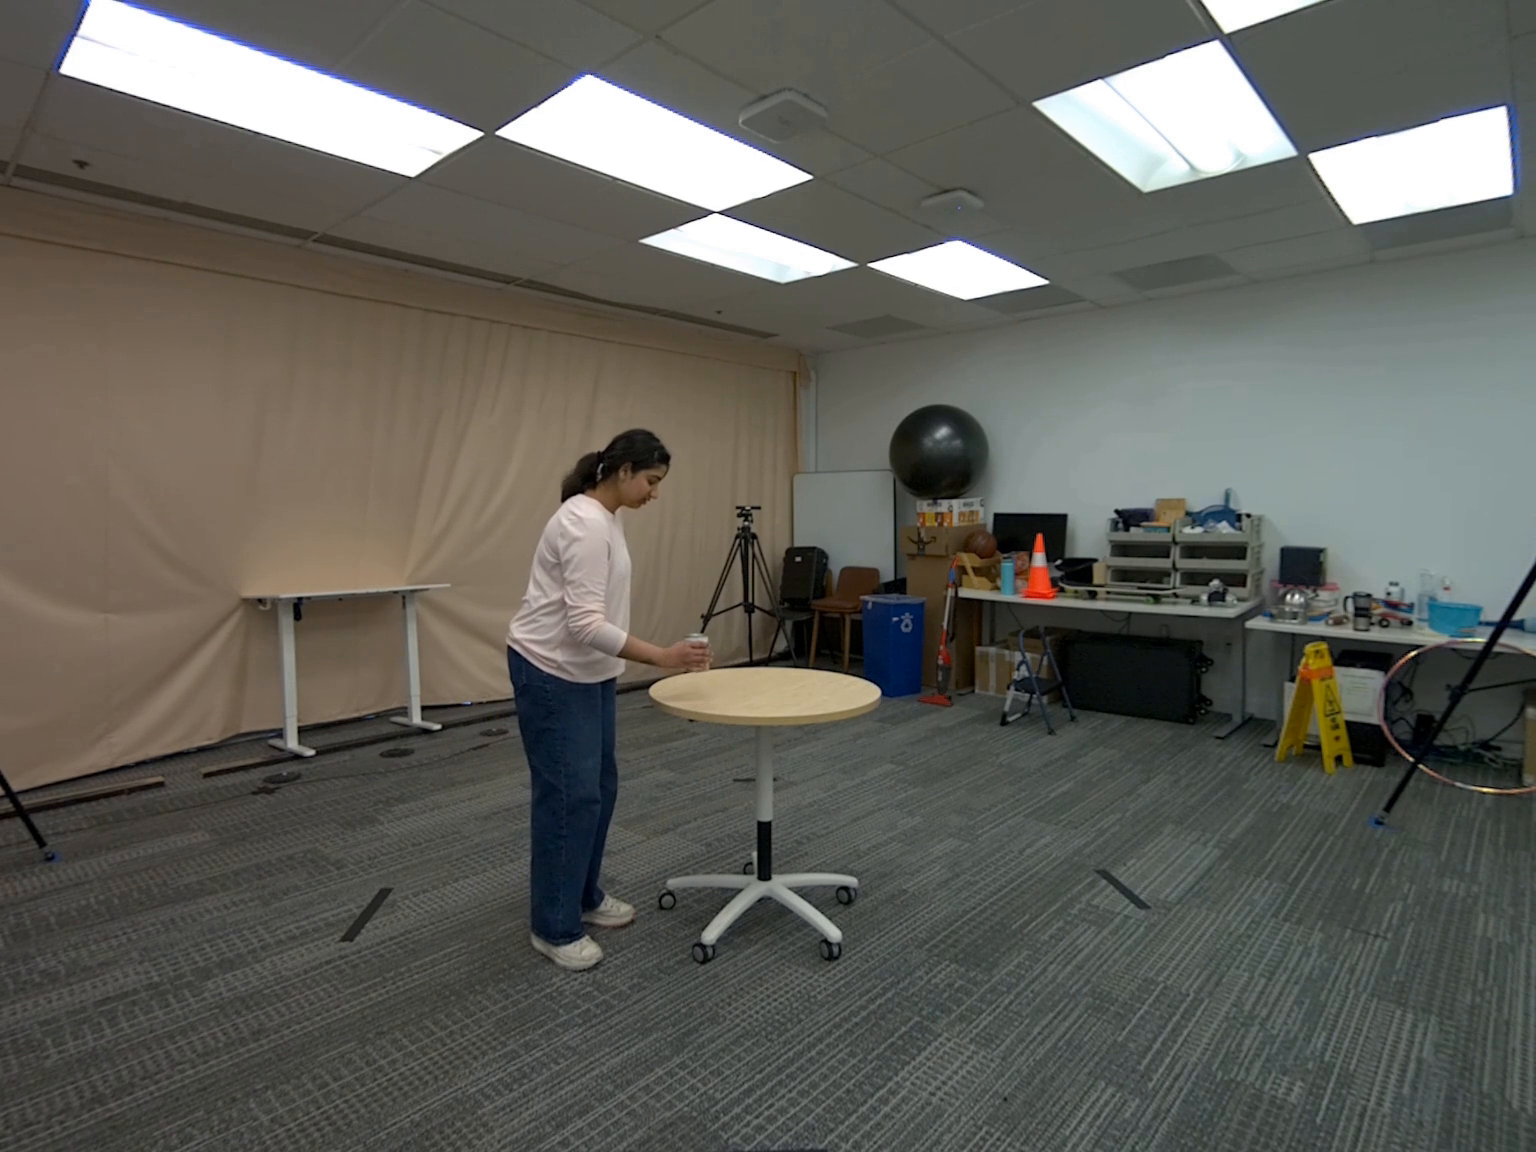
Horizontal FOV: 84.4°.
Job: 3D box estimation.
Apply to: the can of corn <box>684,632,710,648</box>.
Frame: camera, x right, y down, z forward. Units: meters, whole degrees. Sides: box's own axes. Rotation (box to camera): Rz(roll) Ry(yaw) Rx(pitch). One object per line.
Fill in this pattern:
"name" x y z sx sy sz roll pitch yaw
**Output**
"can of corn" -0.217 0.239 2.597 0.074 0.111 0.074 1 1 -2
